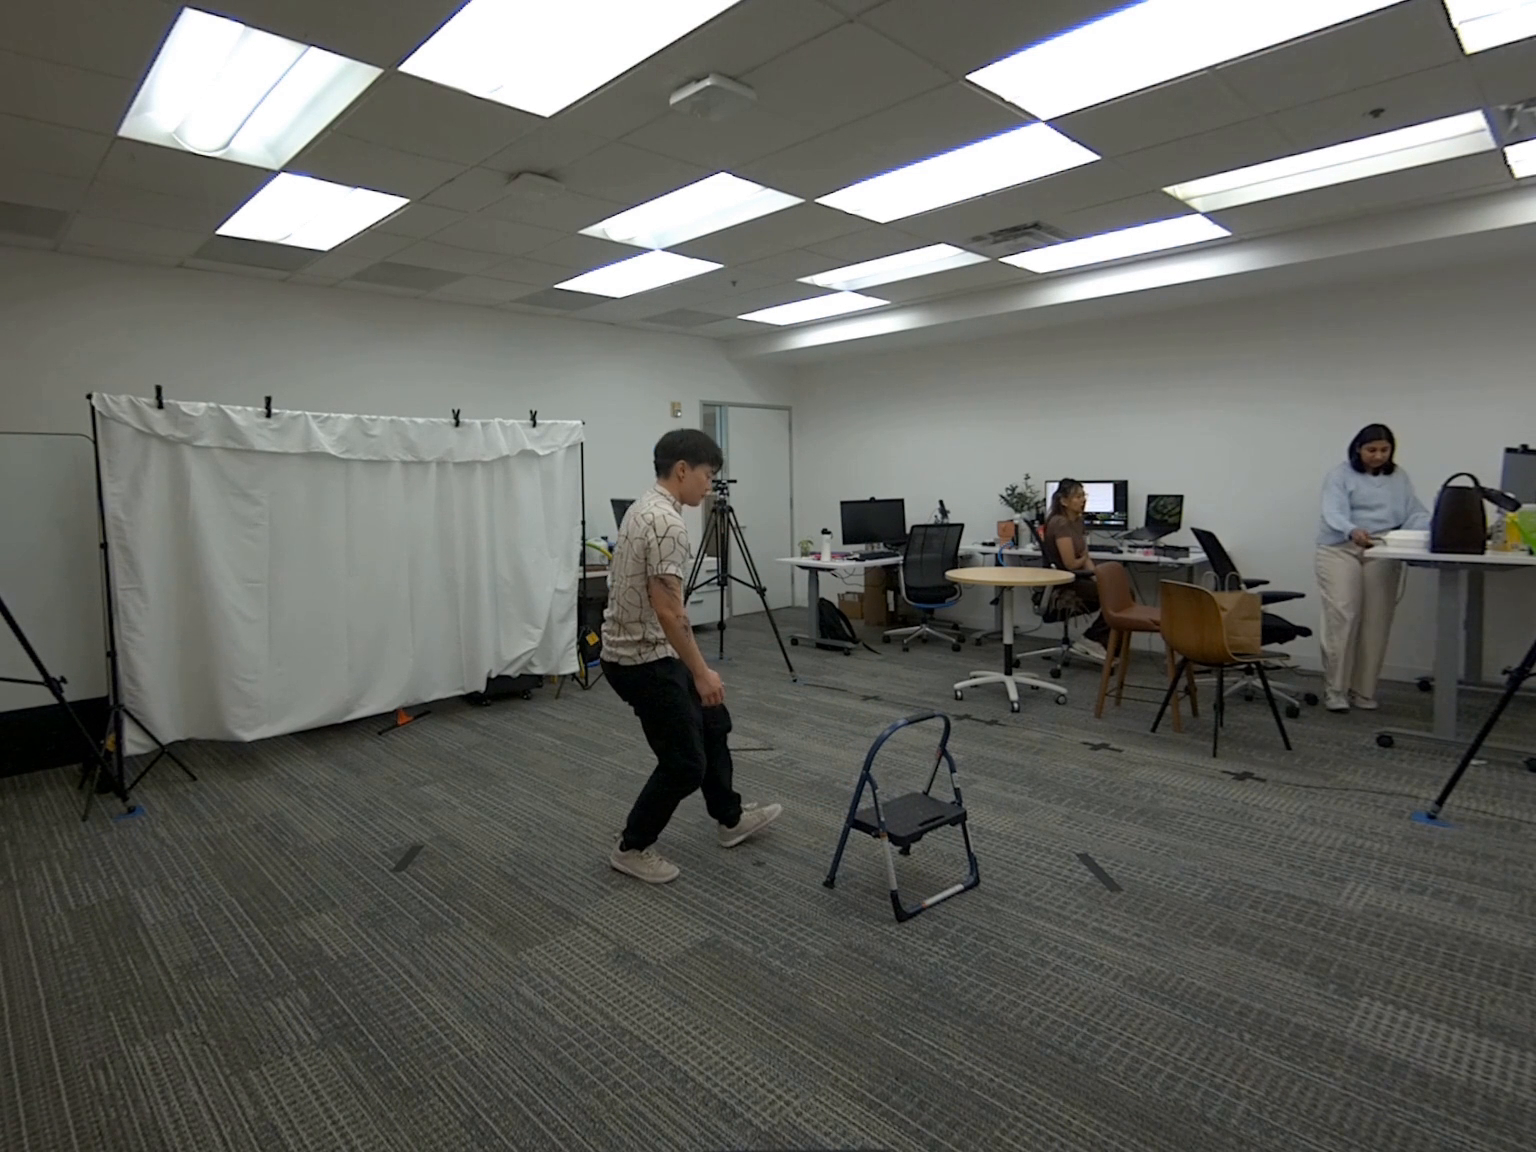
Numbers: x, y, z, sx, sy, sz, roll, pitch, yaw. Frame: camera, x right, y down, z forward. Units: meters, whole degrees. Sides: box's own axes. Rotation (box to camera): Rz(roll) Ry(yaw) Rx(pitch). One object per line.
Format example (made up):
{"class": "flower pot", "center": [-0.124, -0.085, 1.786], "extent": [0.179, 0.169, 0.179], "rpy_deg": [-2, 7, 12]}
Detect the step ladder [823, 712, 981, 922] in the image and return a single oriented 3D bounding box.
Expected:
{"class": "step ladder", "center": [0.454, 0.753, 2.910], "extent": [0.419, 0.604, 0.360], "rpy_deg": [-4, 5, -40]}
